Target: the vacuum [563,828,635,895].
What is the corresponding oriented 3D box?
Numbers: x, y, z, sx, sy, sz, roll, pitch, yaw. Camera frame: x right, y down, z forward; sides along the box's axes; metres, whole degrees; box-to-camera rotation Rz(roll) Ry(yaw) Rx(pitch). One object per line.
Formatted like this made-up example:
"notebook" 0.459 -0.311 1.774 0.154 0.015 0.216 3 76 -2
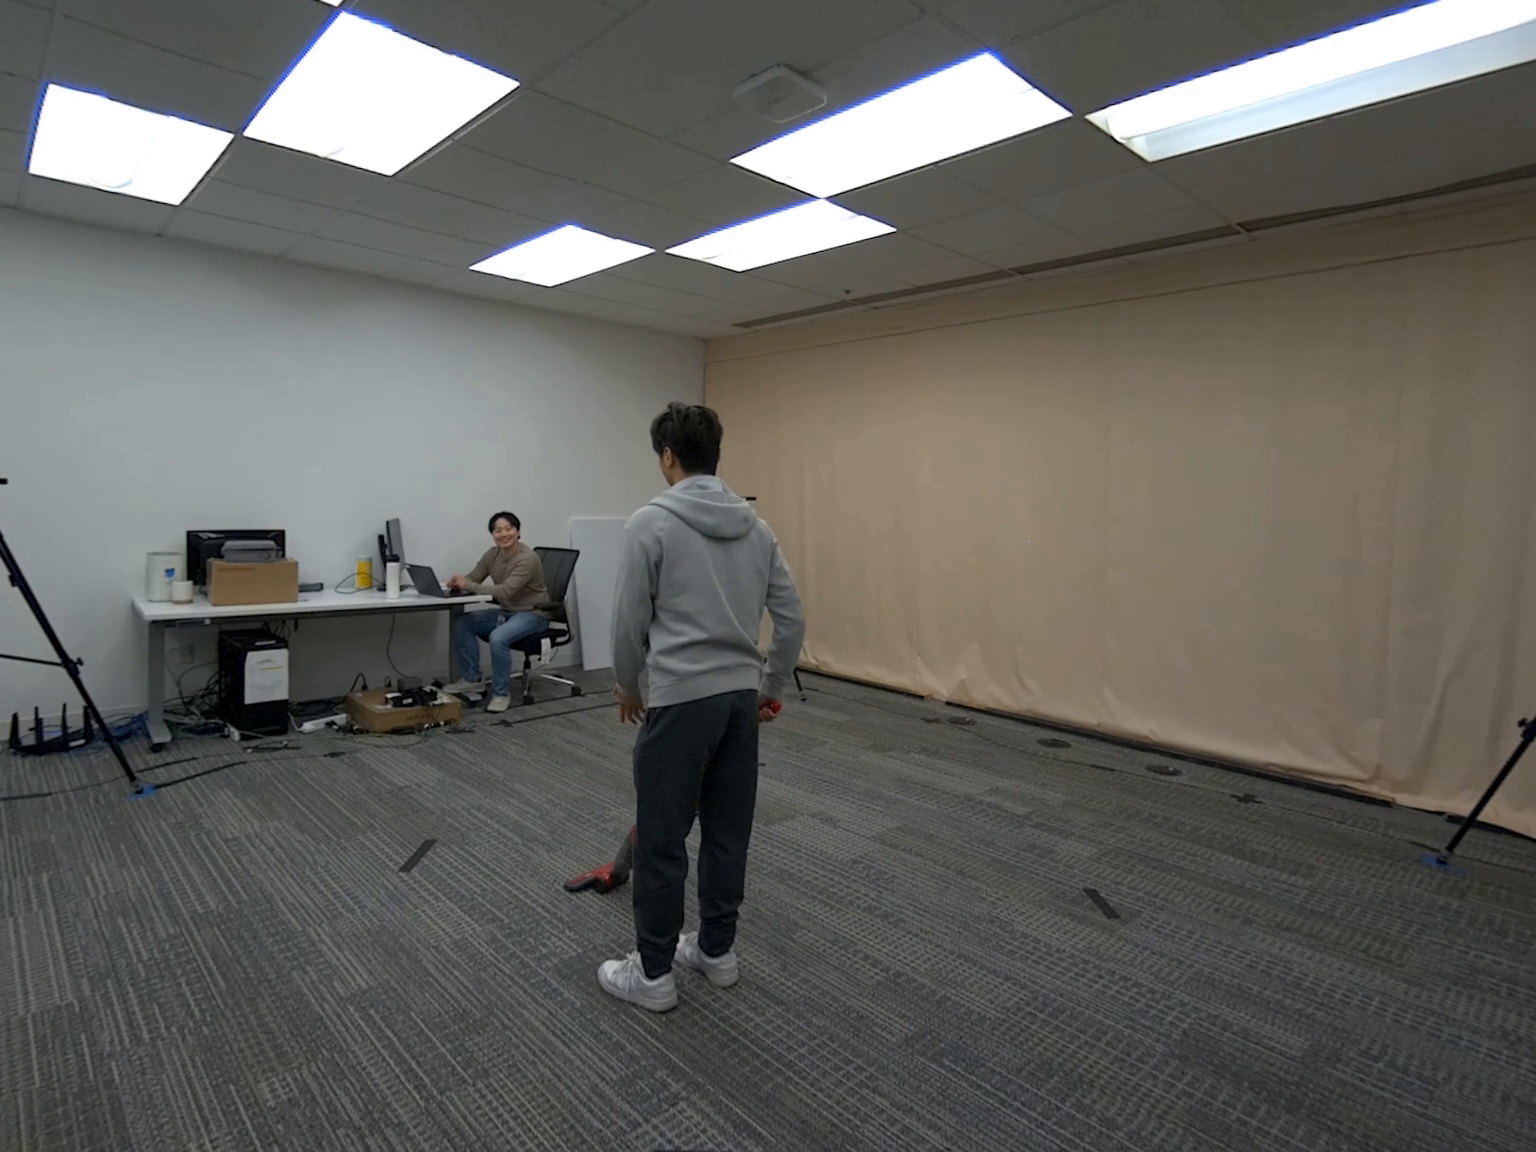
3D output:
"vacuum" -0.323 0.758 2.801 1.048 0.146 0.248 -48 -18 28
